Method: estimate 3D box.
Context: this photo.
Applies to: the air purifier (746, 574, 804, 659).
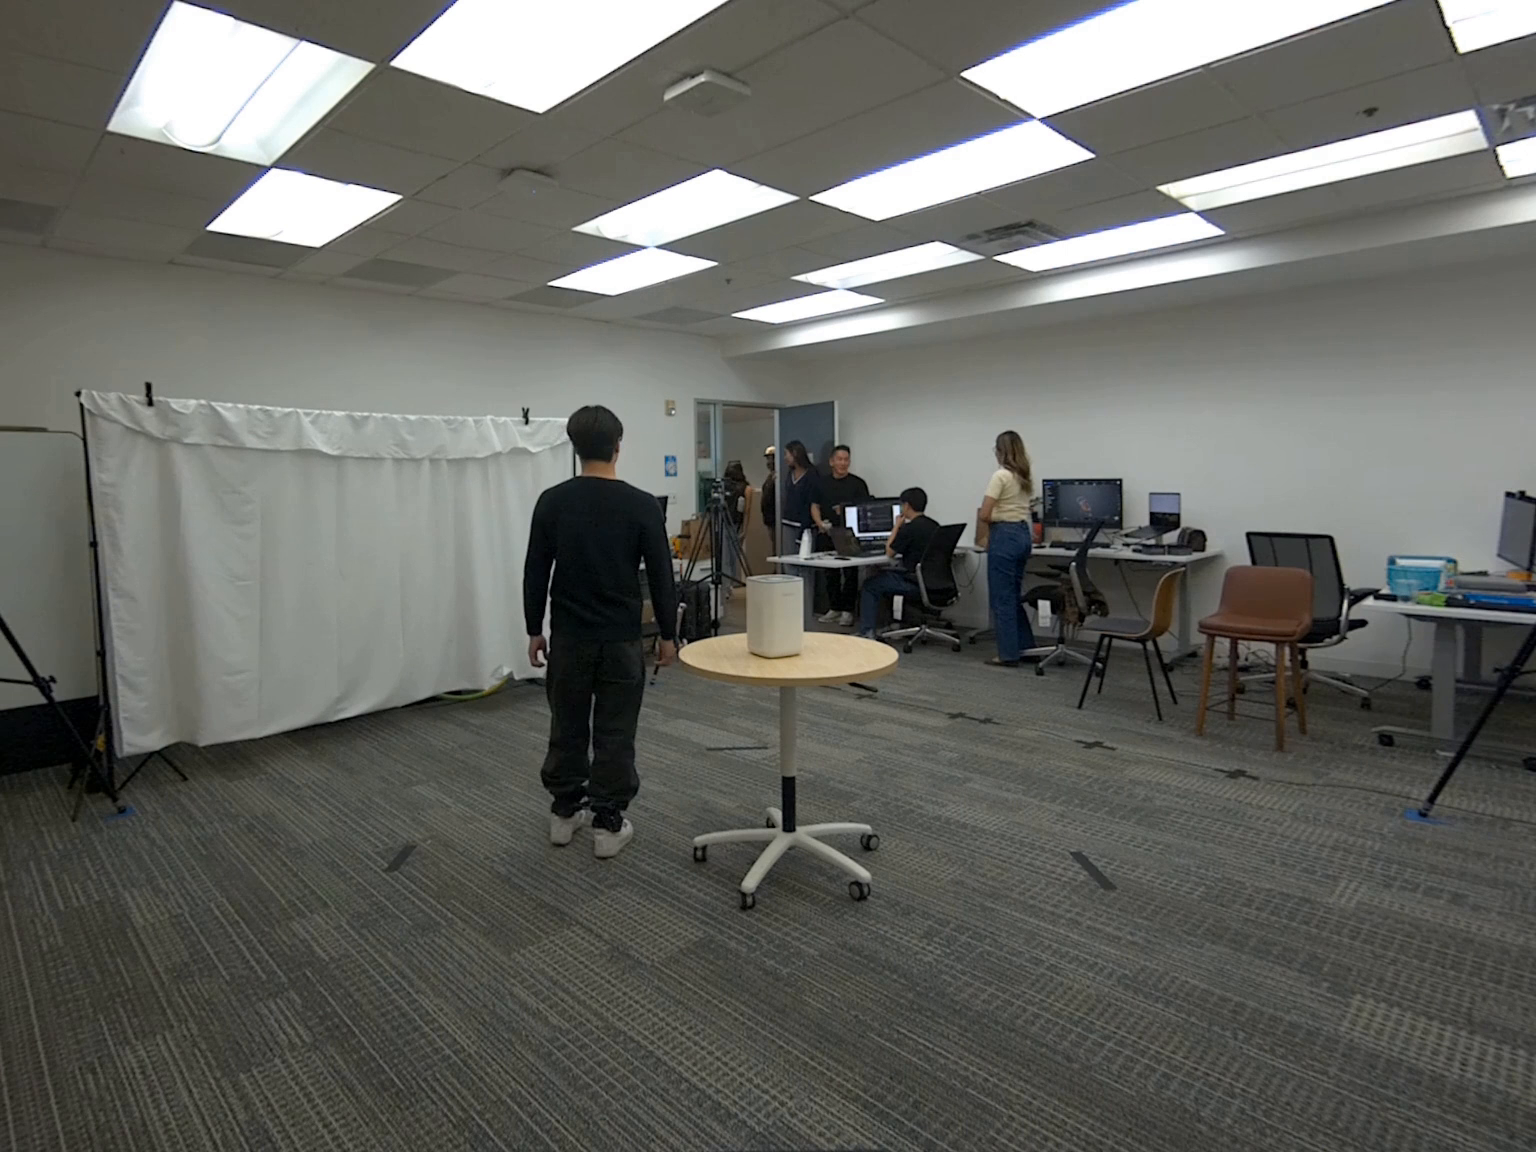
[{"bbox_3d":[0.026,0.136,2.964,0.167,0.264,0.177,-3,7,-32],"label":"air purifier"}]
